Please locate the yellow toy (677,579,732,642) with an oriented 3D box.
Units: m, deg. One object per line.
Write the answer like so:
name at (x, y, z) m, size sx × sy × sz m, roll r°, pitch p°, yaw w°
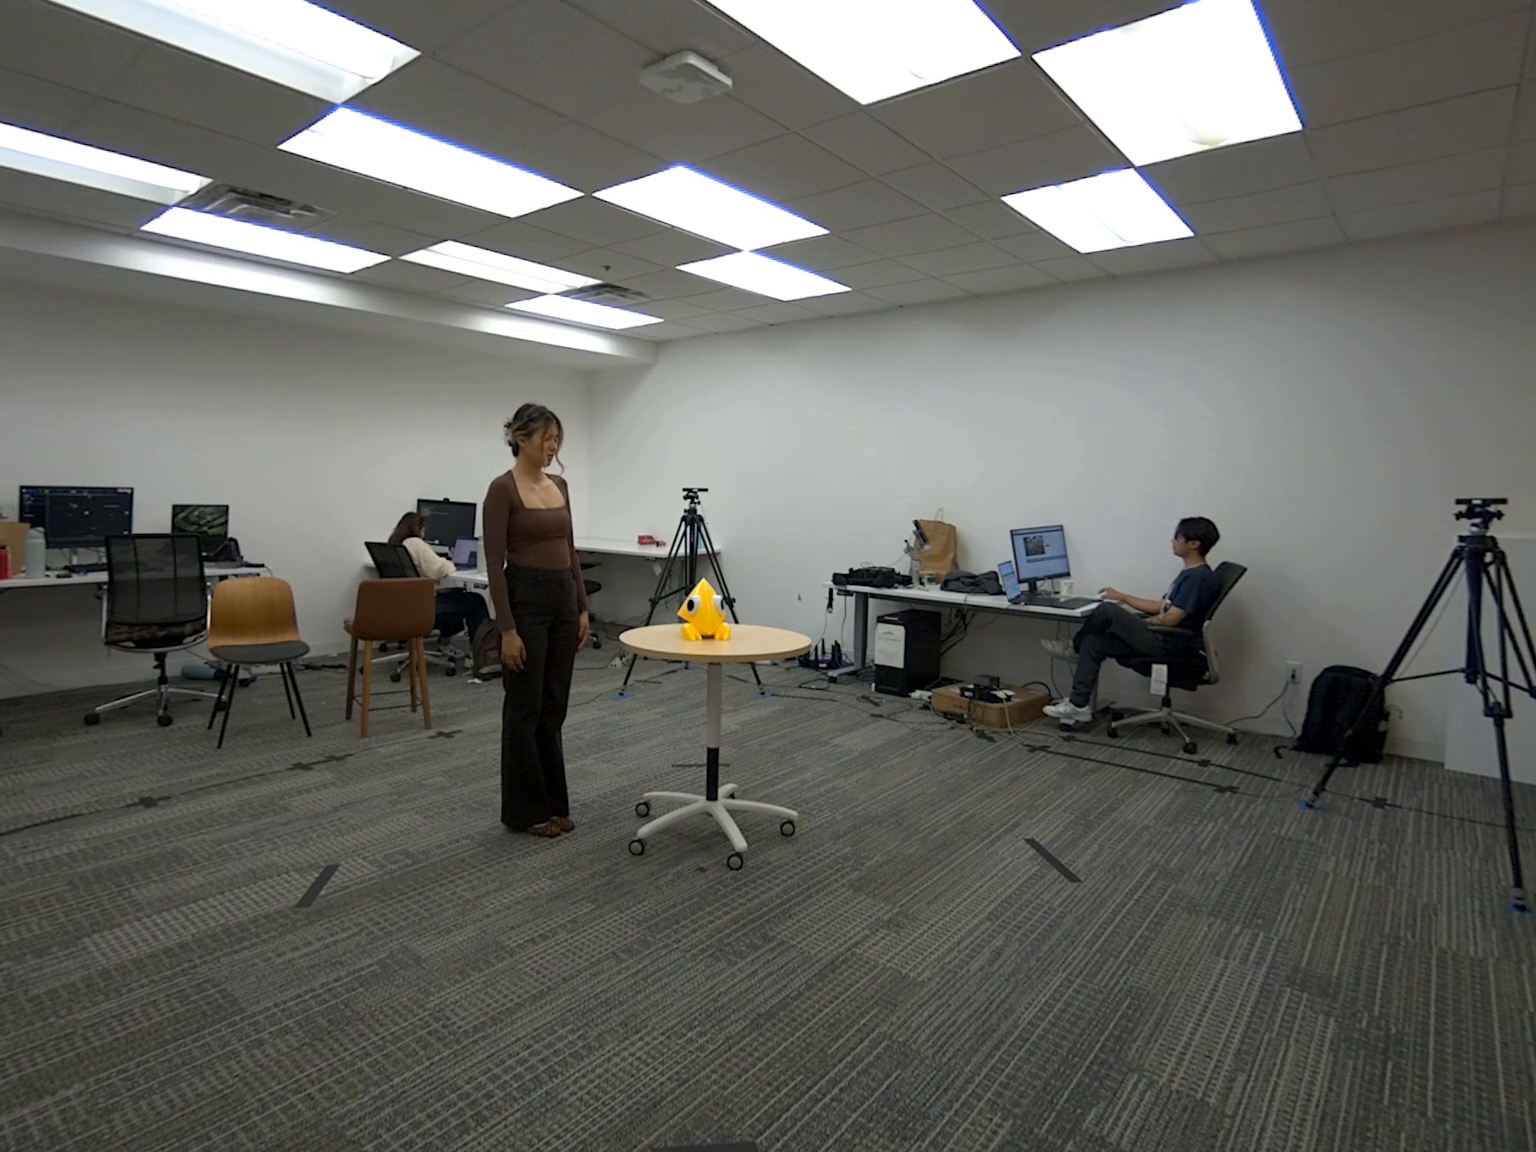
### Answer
yellow toy at (-0.256, 0.128, 3.413) m, size 0.202 × 0.230 × 0.196 m, roll 2°, pitch 4°, yaw -13°
